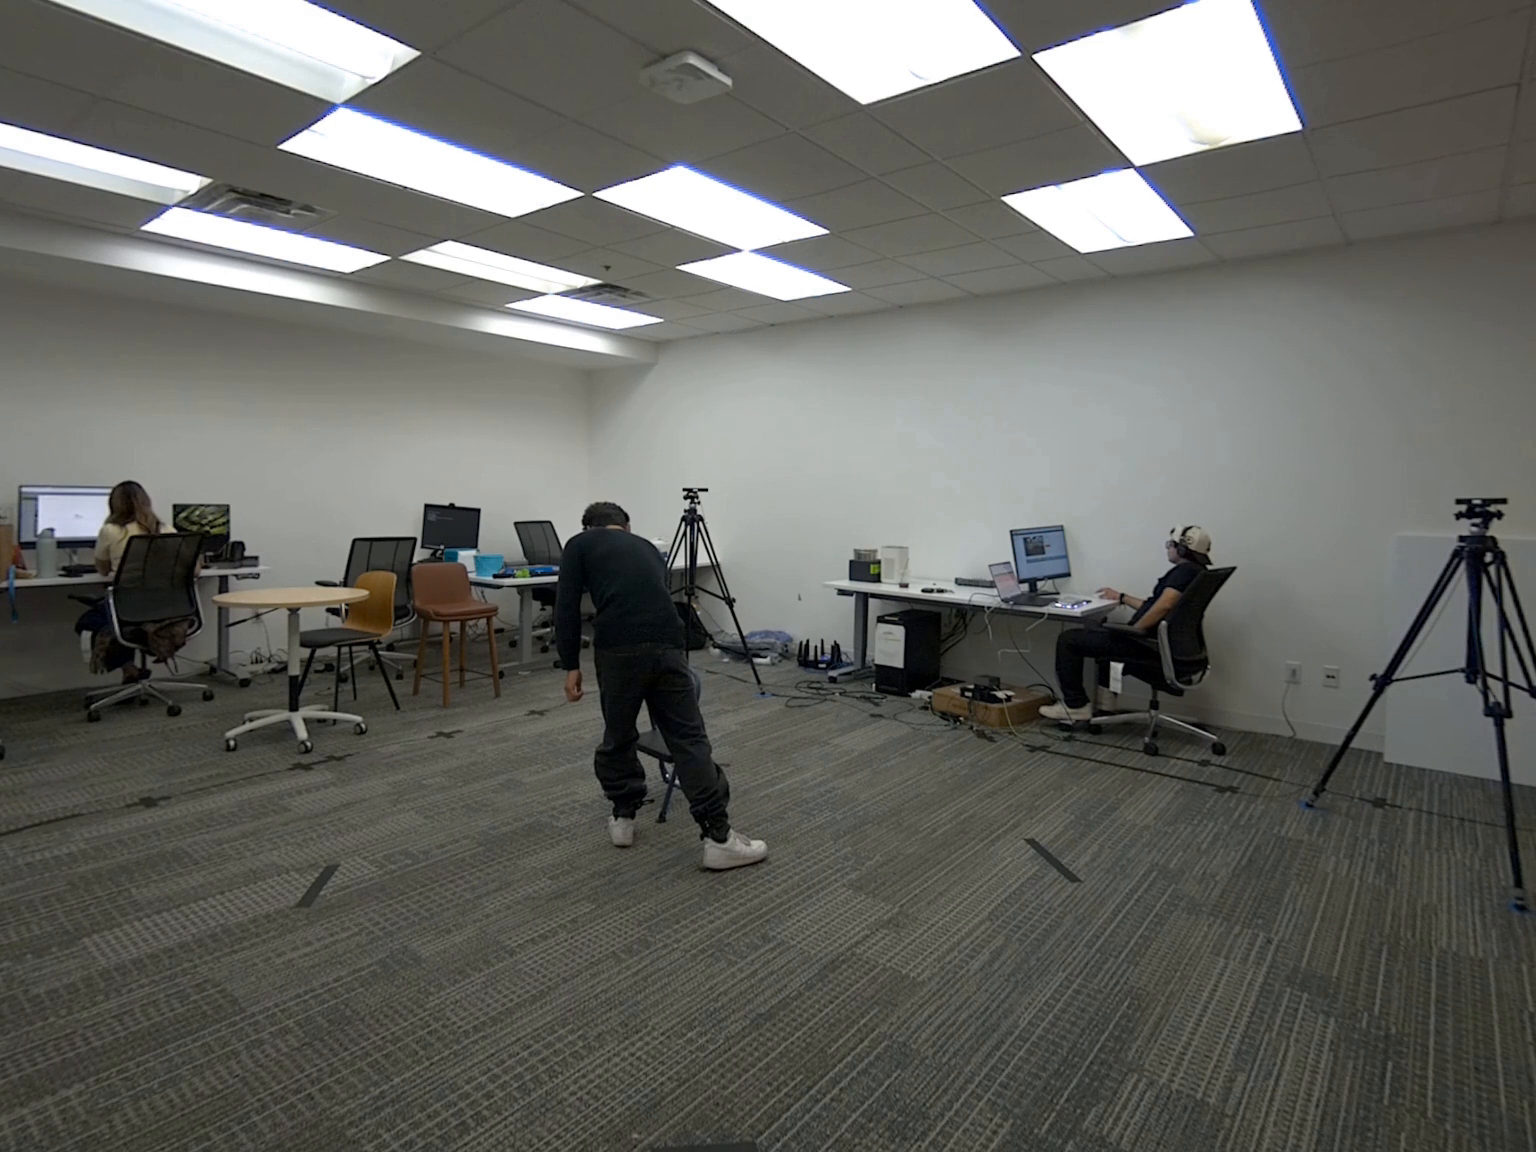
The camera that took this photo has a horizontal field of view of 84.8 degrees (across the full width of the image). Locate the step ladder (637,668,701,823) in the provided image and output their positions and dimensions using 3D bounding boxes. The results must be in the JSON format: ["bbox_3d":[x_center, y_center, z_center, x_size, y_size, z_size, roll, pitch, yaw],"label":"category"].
[{"bbox_3d":[-0.471,0.693,3.786,0.339,0.604,0.445,-2,5,-42],"label":"step ladder"}]
